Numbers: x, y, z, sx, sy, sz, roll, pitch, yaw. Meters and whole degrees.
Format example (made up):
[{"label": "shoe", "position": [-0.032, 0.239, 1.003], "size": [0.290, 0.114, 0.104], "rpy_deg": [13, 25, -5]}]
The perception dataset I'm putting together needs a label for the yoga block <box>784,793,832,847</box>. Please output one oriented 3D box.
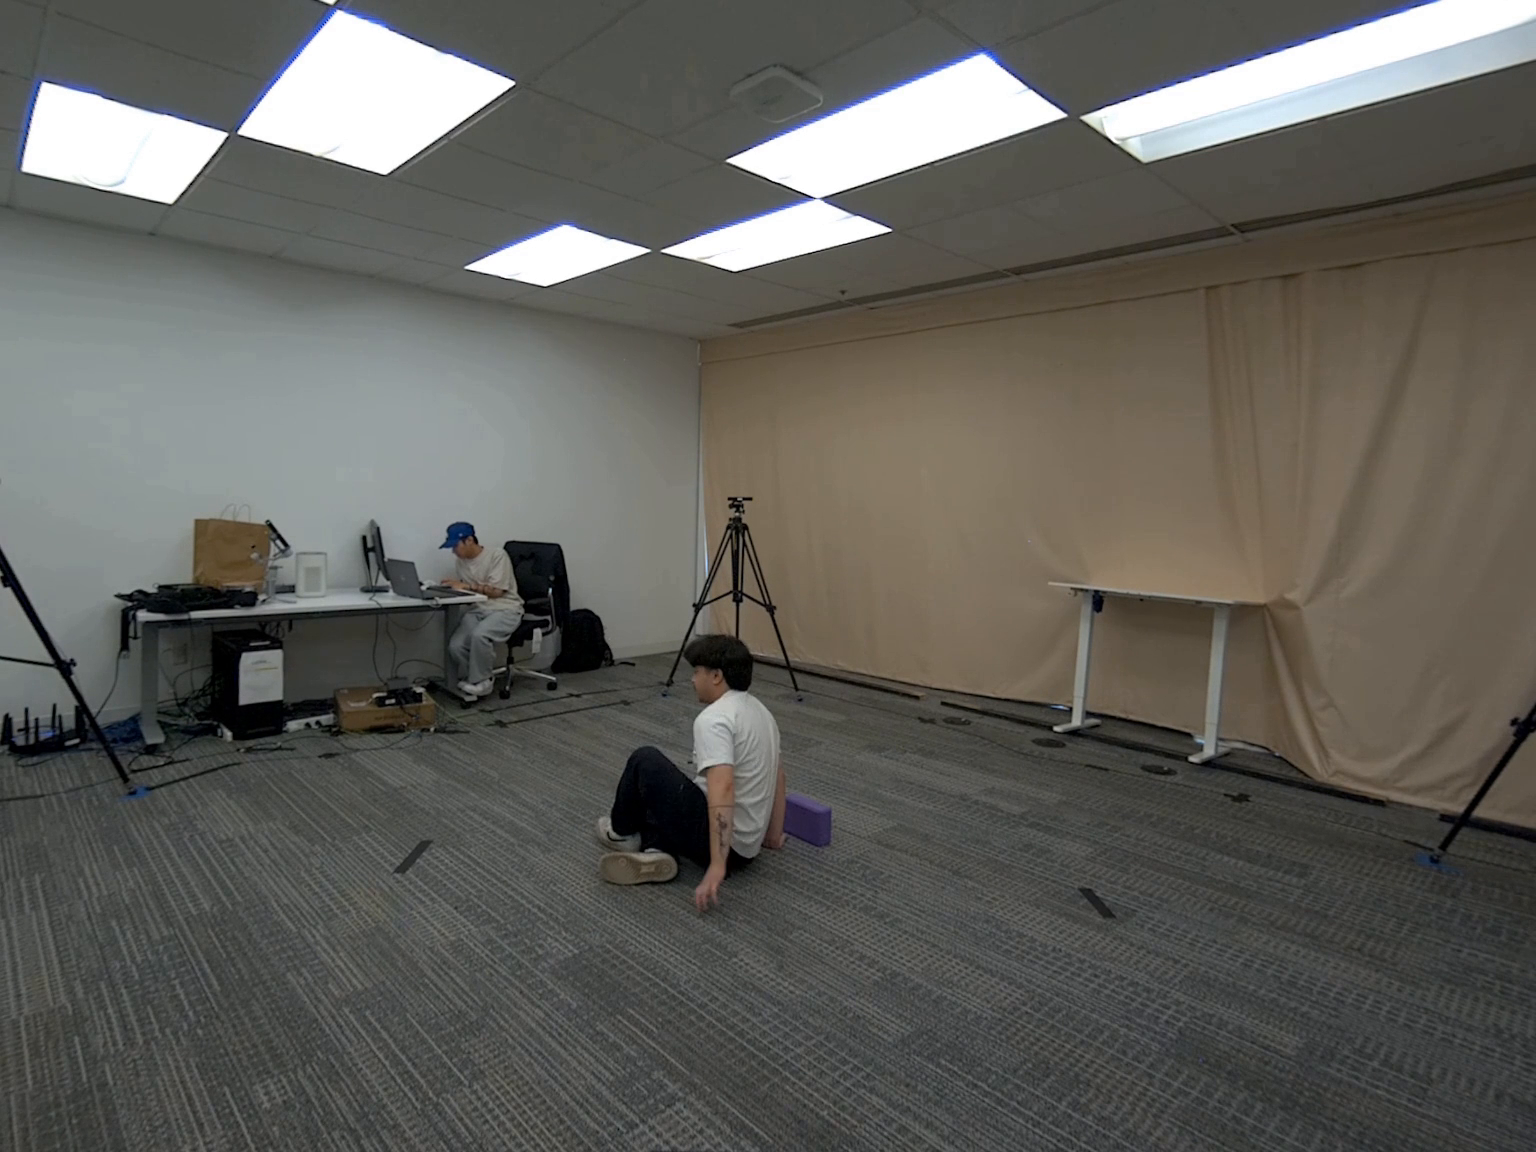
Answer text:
[{"label": "yoga block", "position": [0.148, 1.004, 3.489], "size": [0.075, 0.149, 0.235], "rpy_deg": [0, 4, -37]}]
